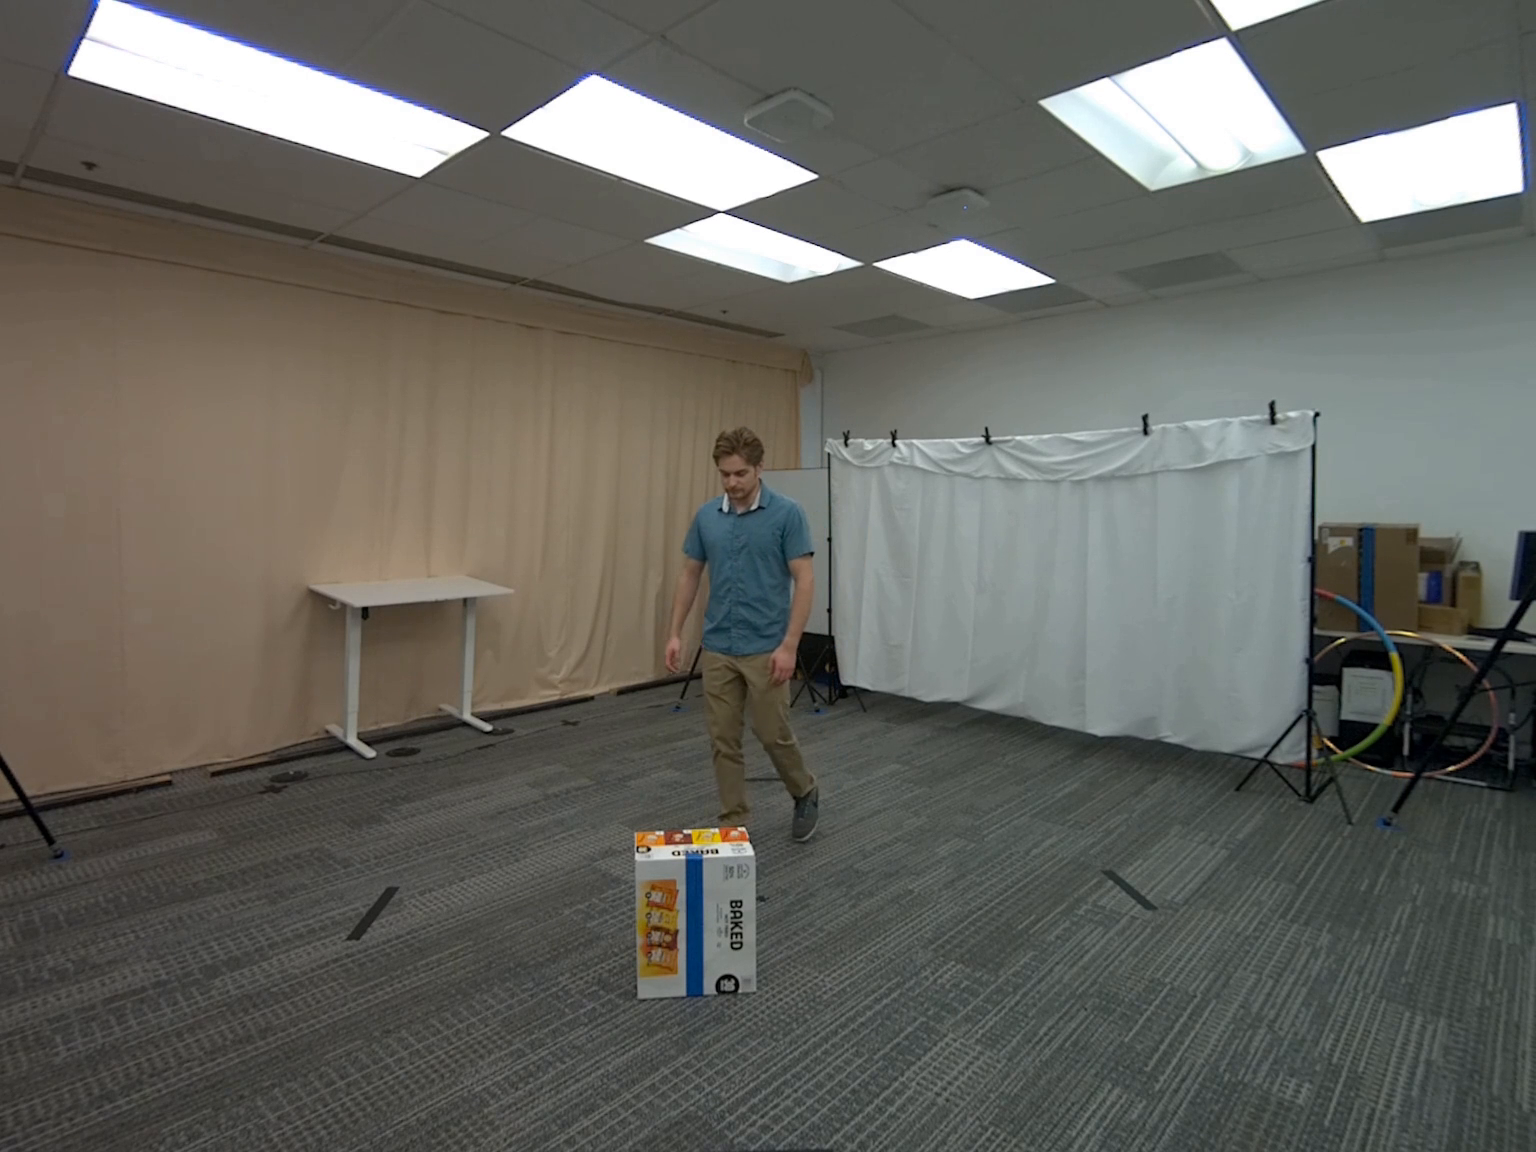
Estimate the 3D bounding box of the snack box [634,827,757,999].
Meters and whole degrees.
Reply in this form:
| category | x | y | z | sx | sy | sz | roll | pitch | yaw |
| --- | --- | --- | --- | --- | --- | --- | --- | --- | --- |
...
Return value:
| category | x | y | z | sx | sy | sz | roll | pitch | yaw |
| --- | --- | --- | --- | --- | --- | --- | --- | --- | --- |
| snack box | -0.219 | 0.987 | 2.478 | 0.339 | 0.404 | 0.207 | -1 | 4 | -5 |
